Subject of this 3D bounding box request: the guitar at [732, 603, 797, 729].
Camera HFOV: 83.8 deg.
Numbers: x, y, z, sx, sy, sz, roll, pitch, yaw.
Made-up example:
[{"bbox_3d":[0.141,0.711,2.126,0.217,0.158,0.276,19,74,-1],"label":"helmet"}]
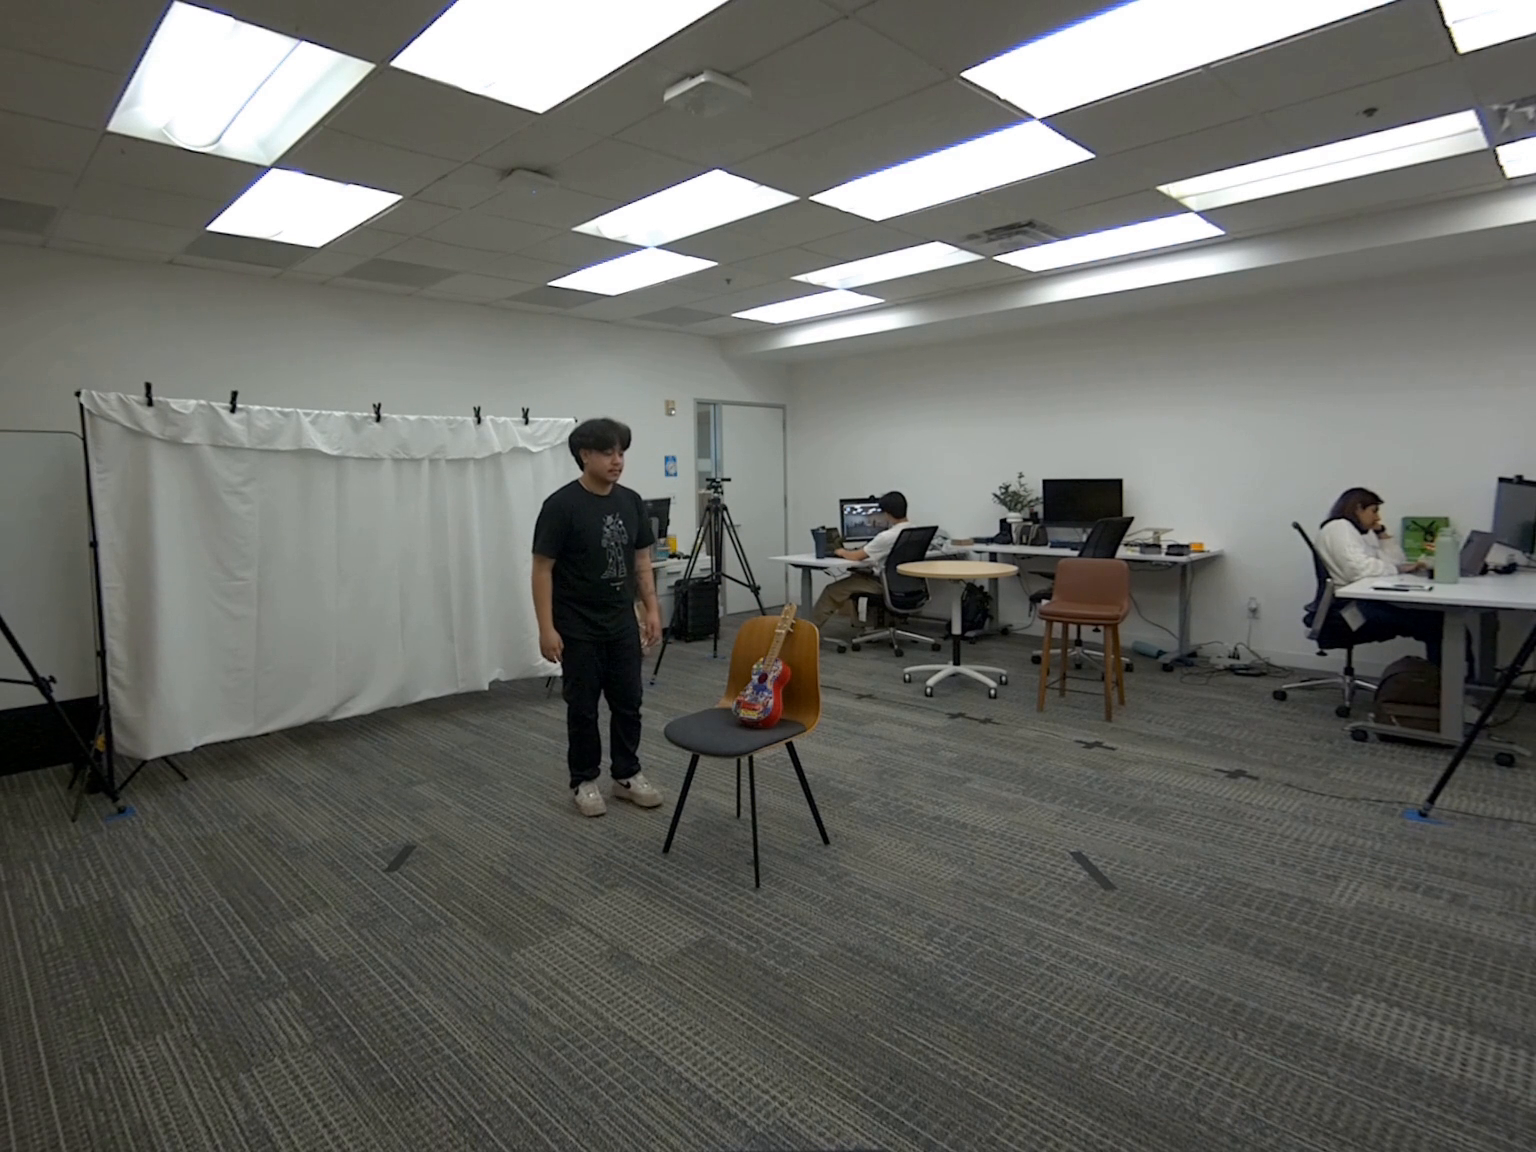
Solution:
[{"bbox_3d":[0.036,0.339,3.245,0.199,0.501,0.068,7,-27,45],"label":"guitar"}]
